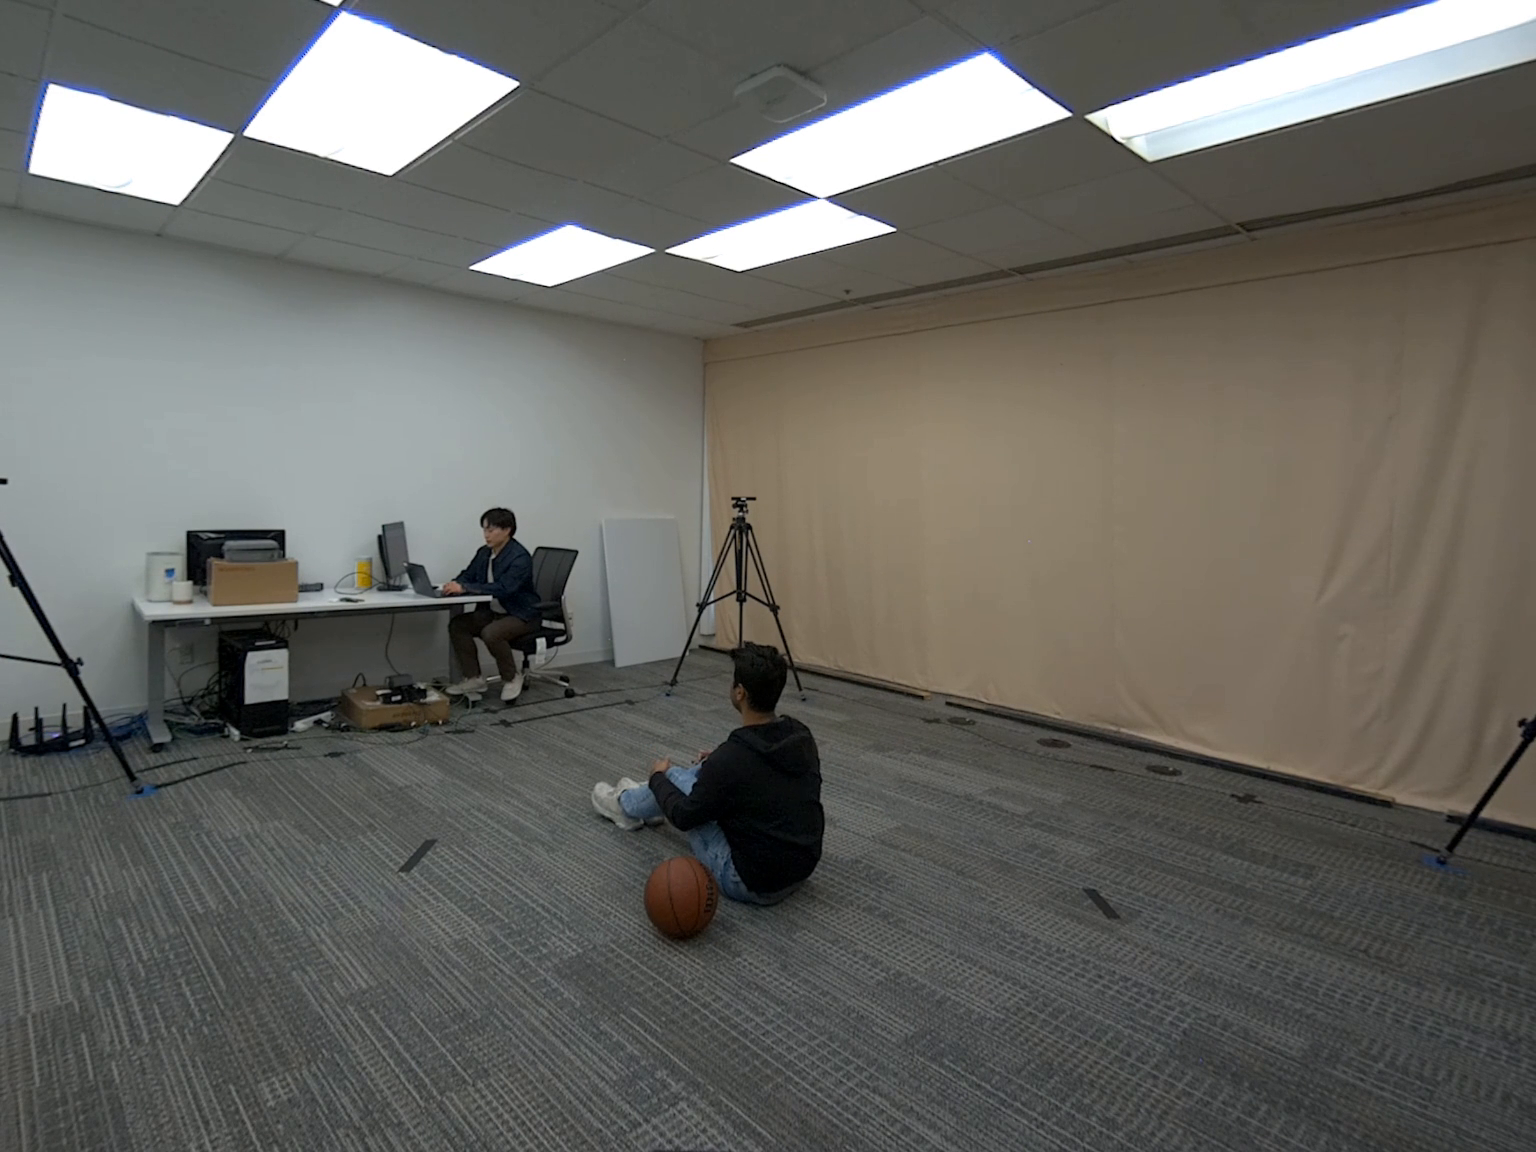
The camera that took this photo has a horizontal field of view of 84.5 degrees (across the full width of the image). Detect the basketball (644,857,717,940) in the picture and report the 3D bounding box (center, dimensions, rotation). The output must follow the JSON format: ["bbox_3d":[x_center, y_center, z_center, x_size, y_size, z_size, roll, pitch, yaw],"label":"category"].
[{"bbox_3d":[-0.286,1.024,2.684,0.236,0.235,0.237,1,4,-1],"label":"basketball"}]
